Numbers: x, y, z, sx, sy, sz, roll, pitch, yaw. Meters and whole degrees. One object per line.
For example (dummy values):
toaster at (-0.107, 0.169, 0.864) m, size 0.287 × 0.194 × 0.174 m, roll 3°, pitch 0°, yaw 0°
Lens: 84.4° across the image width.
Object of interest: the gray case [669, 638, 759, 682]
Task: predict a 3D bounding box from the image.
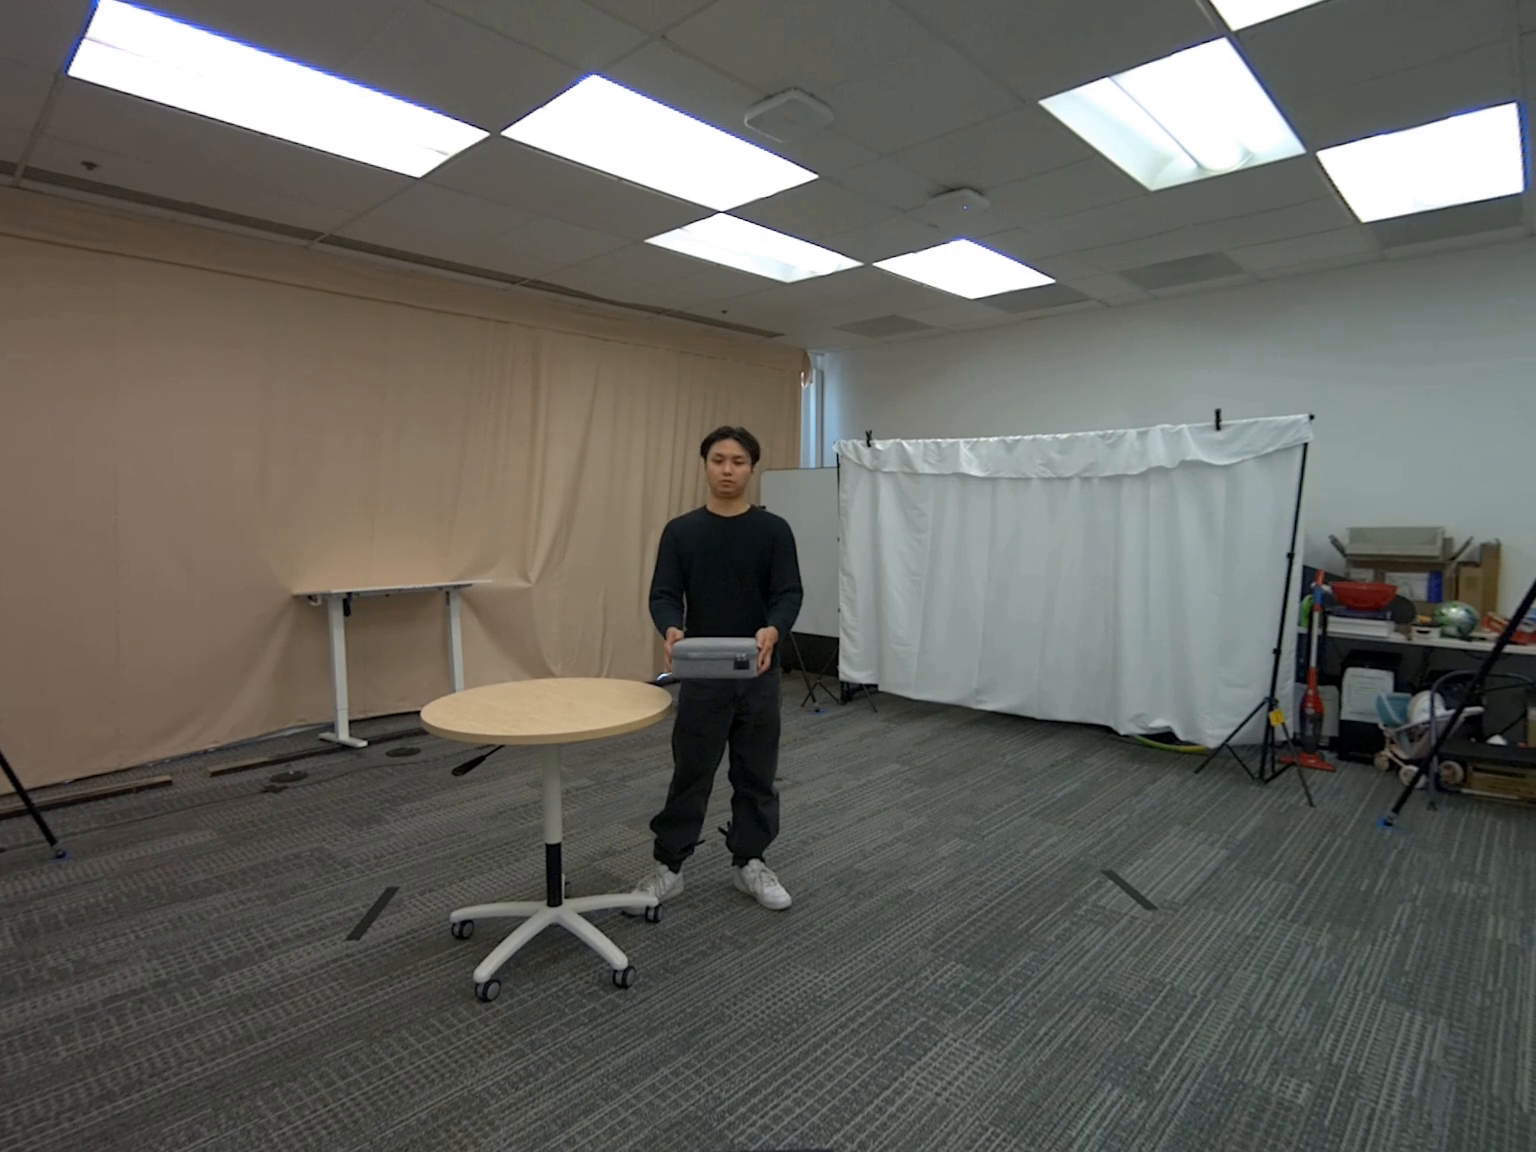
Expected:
gray case at (-0.151, 0.244, 2.568) m, size 0.259 × 0.104 × 0.259 m, roll -1°, pitch 1°, yaw 6°
